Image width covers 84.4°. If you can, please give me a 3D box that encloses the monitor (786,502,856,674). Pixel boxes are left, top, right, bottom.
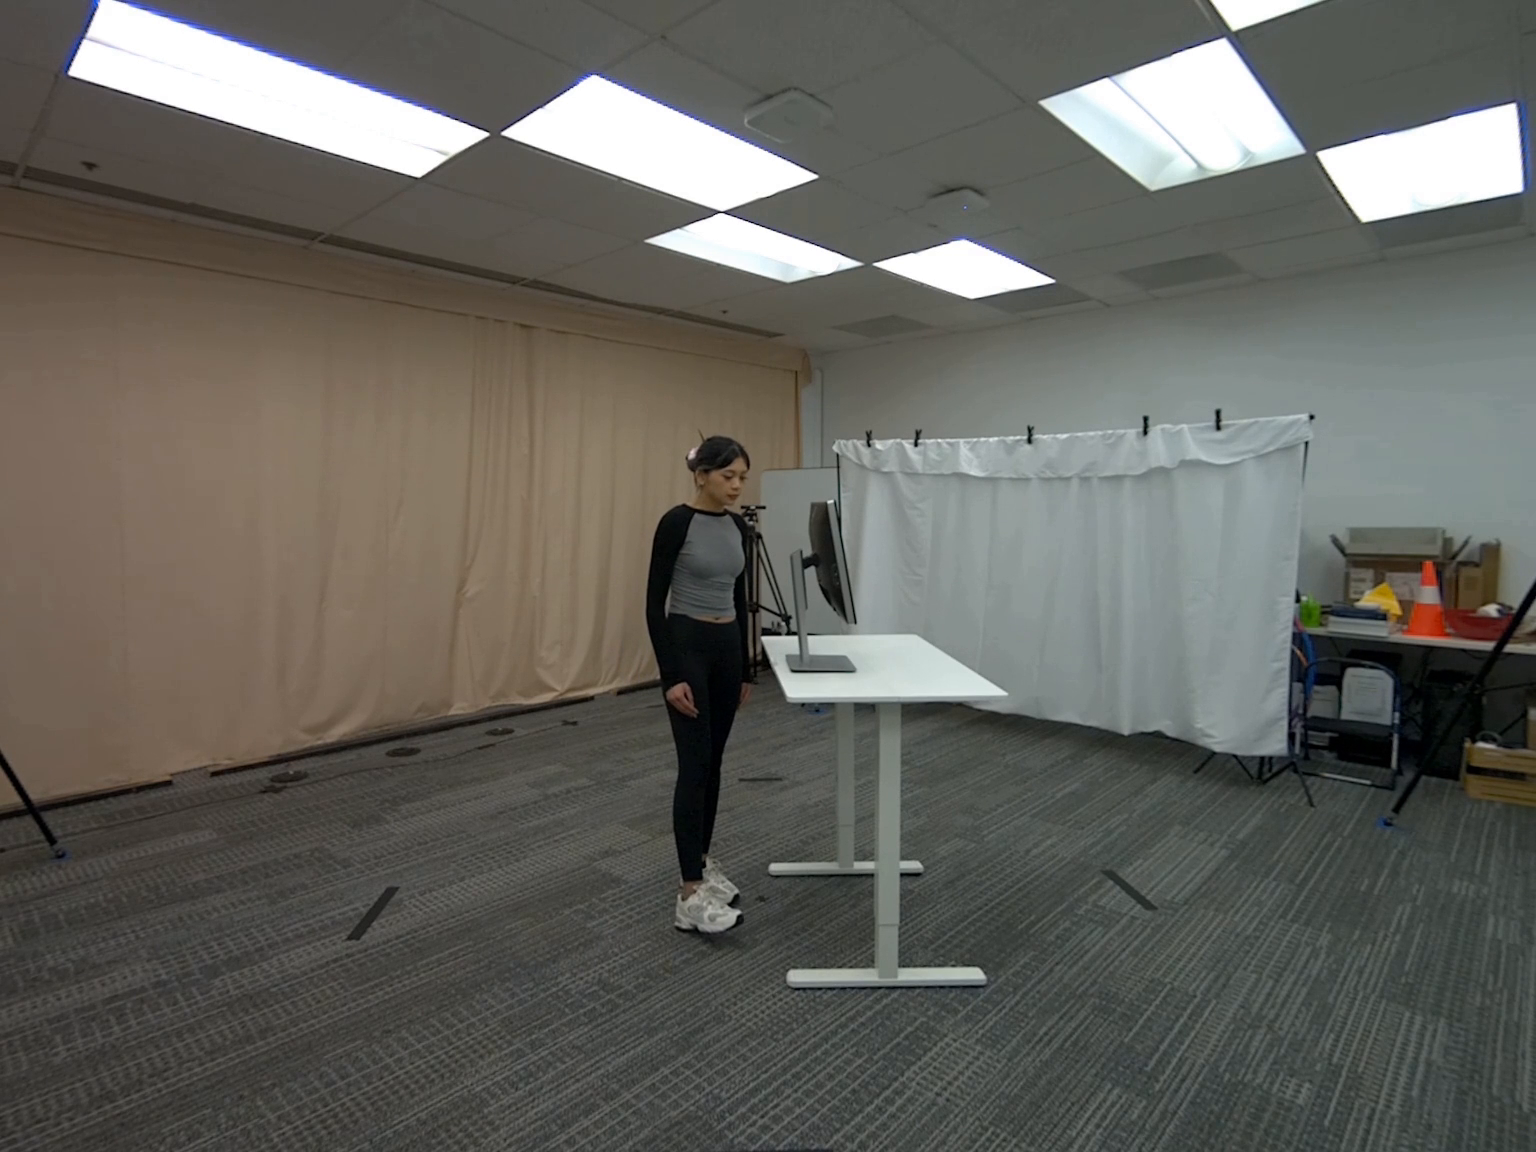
[{"bbox_3d":[0.165,0.028,2.686,0.187,0.521,0.541,2,4,-4],"label":"monitor"}]
